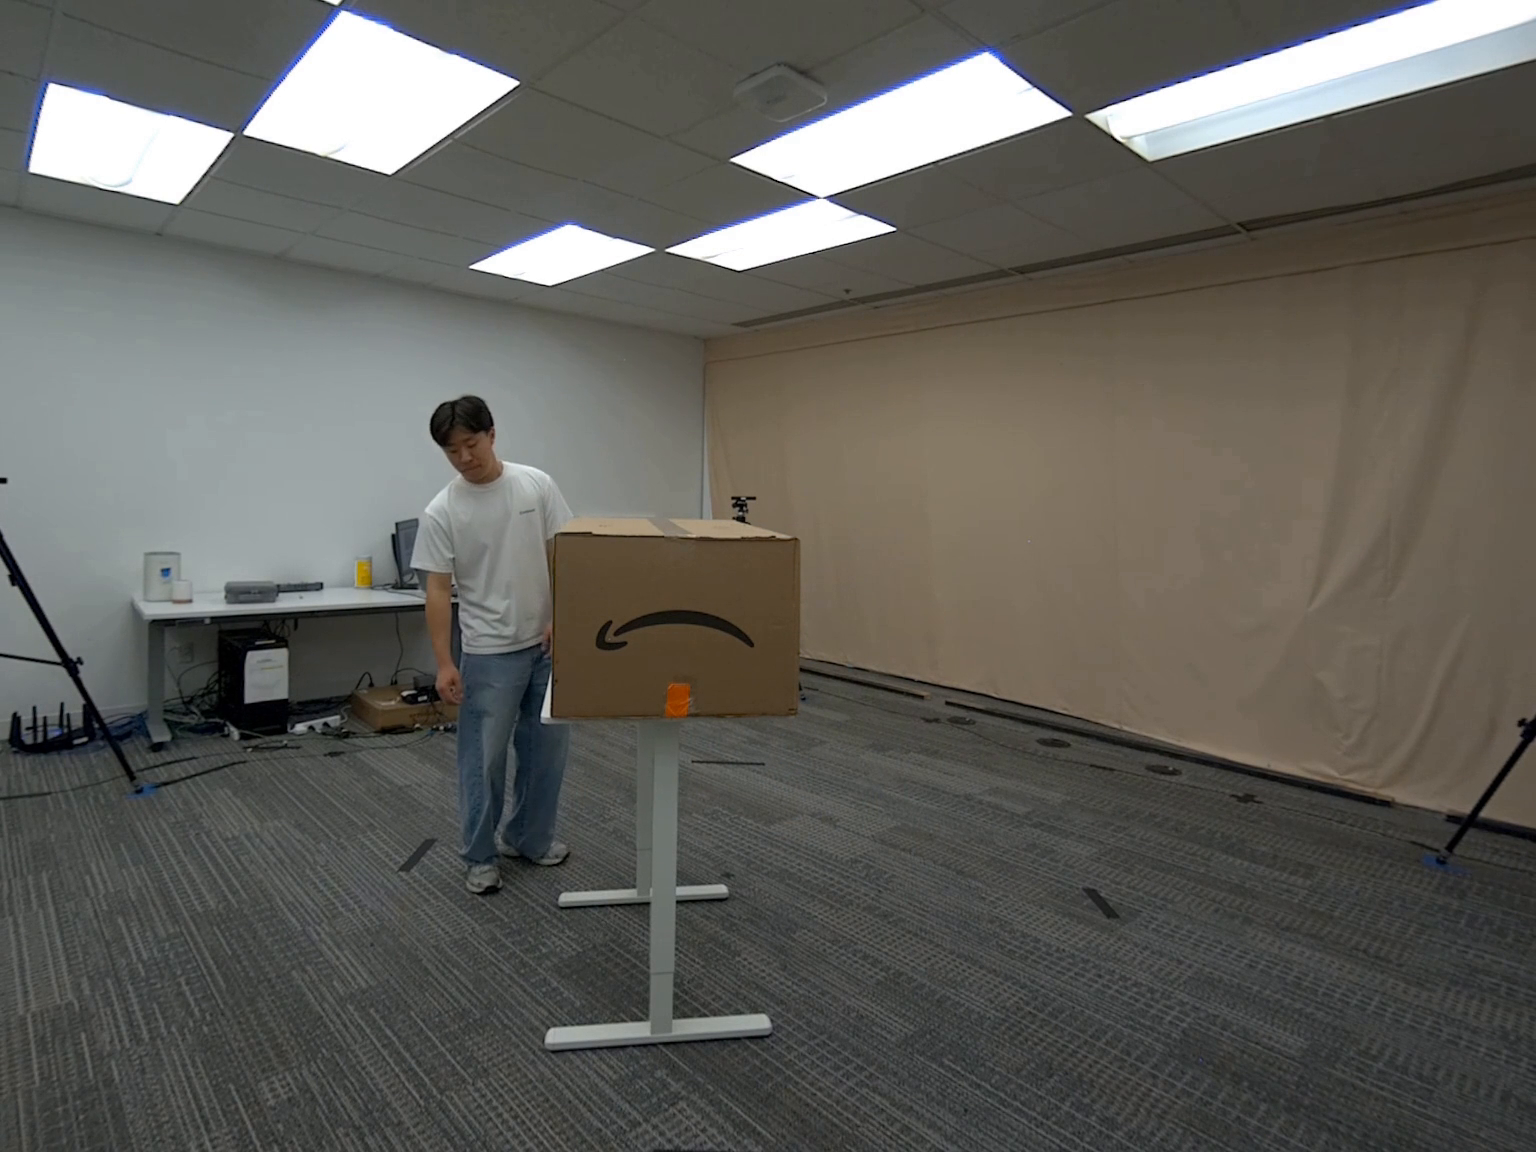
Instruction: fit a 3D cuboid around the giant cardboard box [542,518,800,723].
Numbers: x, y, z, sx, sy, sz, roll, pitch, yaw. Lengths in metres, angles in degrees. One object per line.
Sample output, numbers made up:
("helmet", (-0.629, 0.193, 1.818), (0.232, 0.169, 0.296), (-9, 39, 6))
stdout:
("giant cardboard box", (-0.302, 0.071, 2.442), (0.573, 0.425, 1.037), (1, 6, -10))
